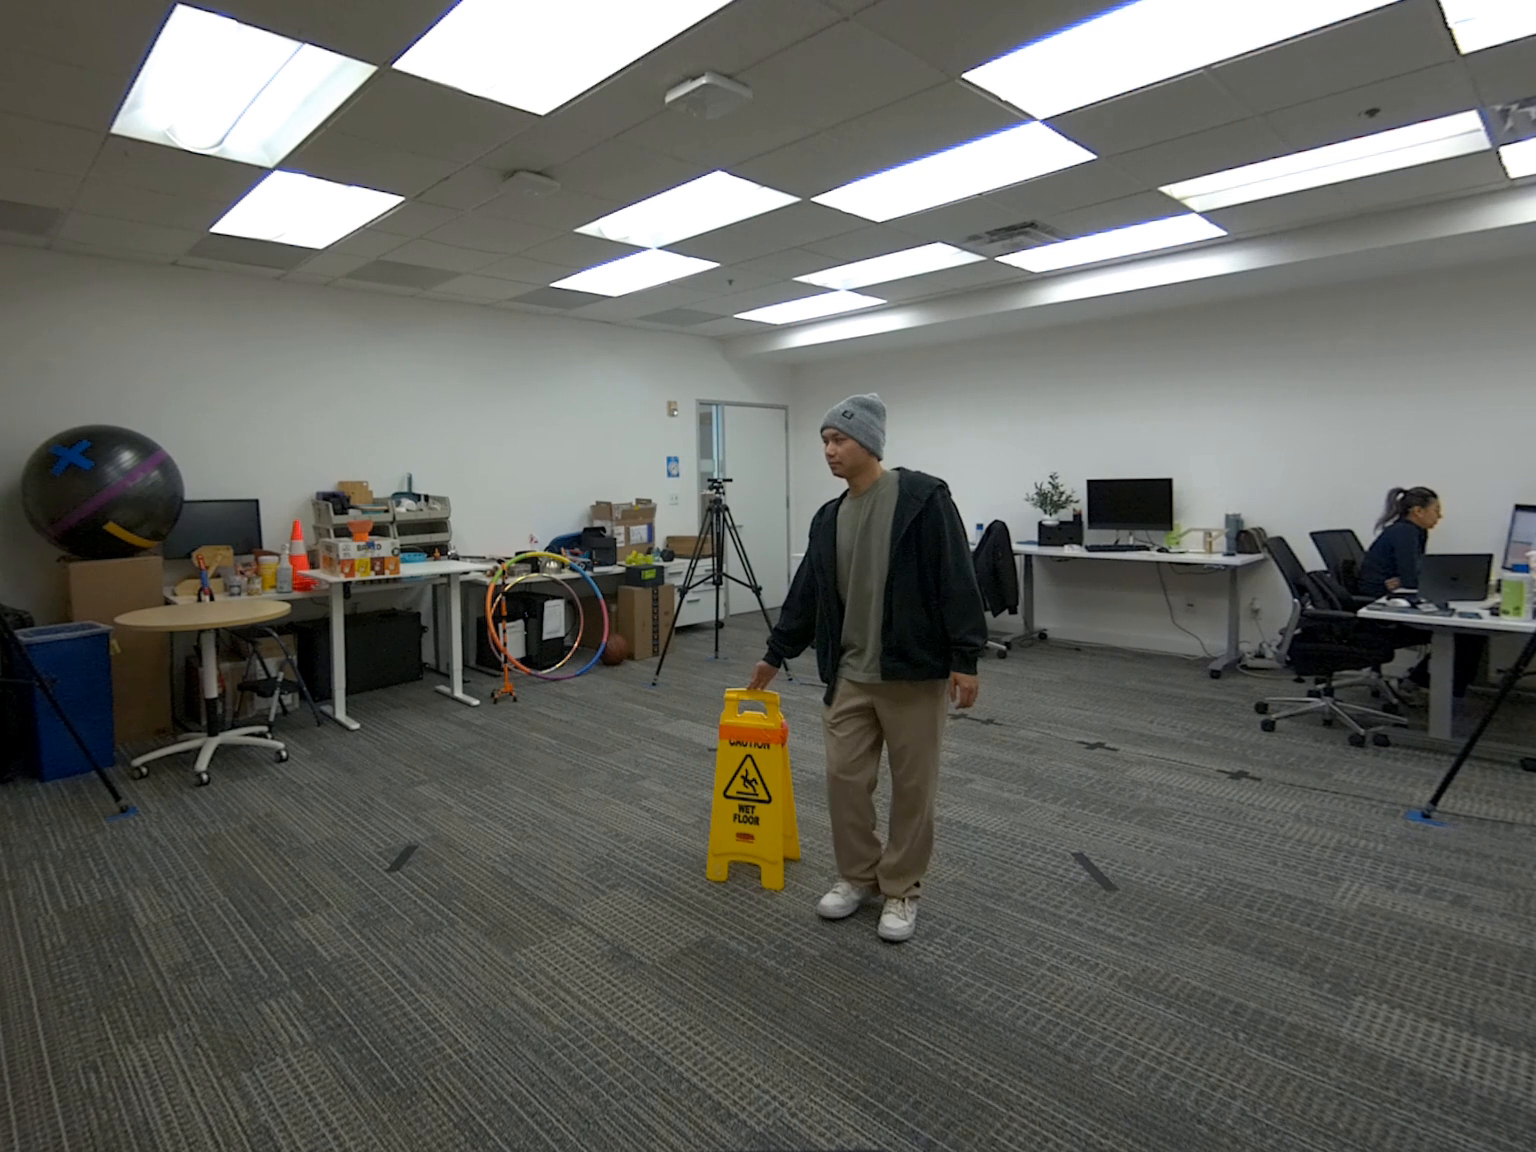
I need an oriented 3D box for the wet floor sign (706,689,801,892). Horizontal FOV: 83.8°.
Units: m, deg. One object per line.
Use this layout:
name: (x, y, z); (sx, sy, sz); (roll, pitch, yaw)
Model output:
wet floor sign: (-0.052, 0.727, 3.034); (0.287, 0.643, 0.286); (0, 4, 17)
